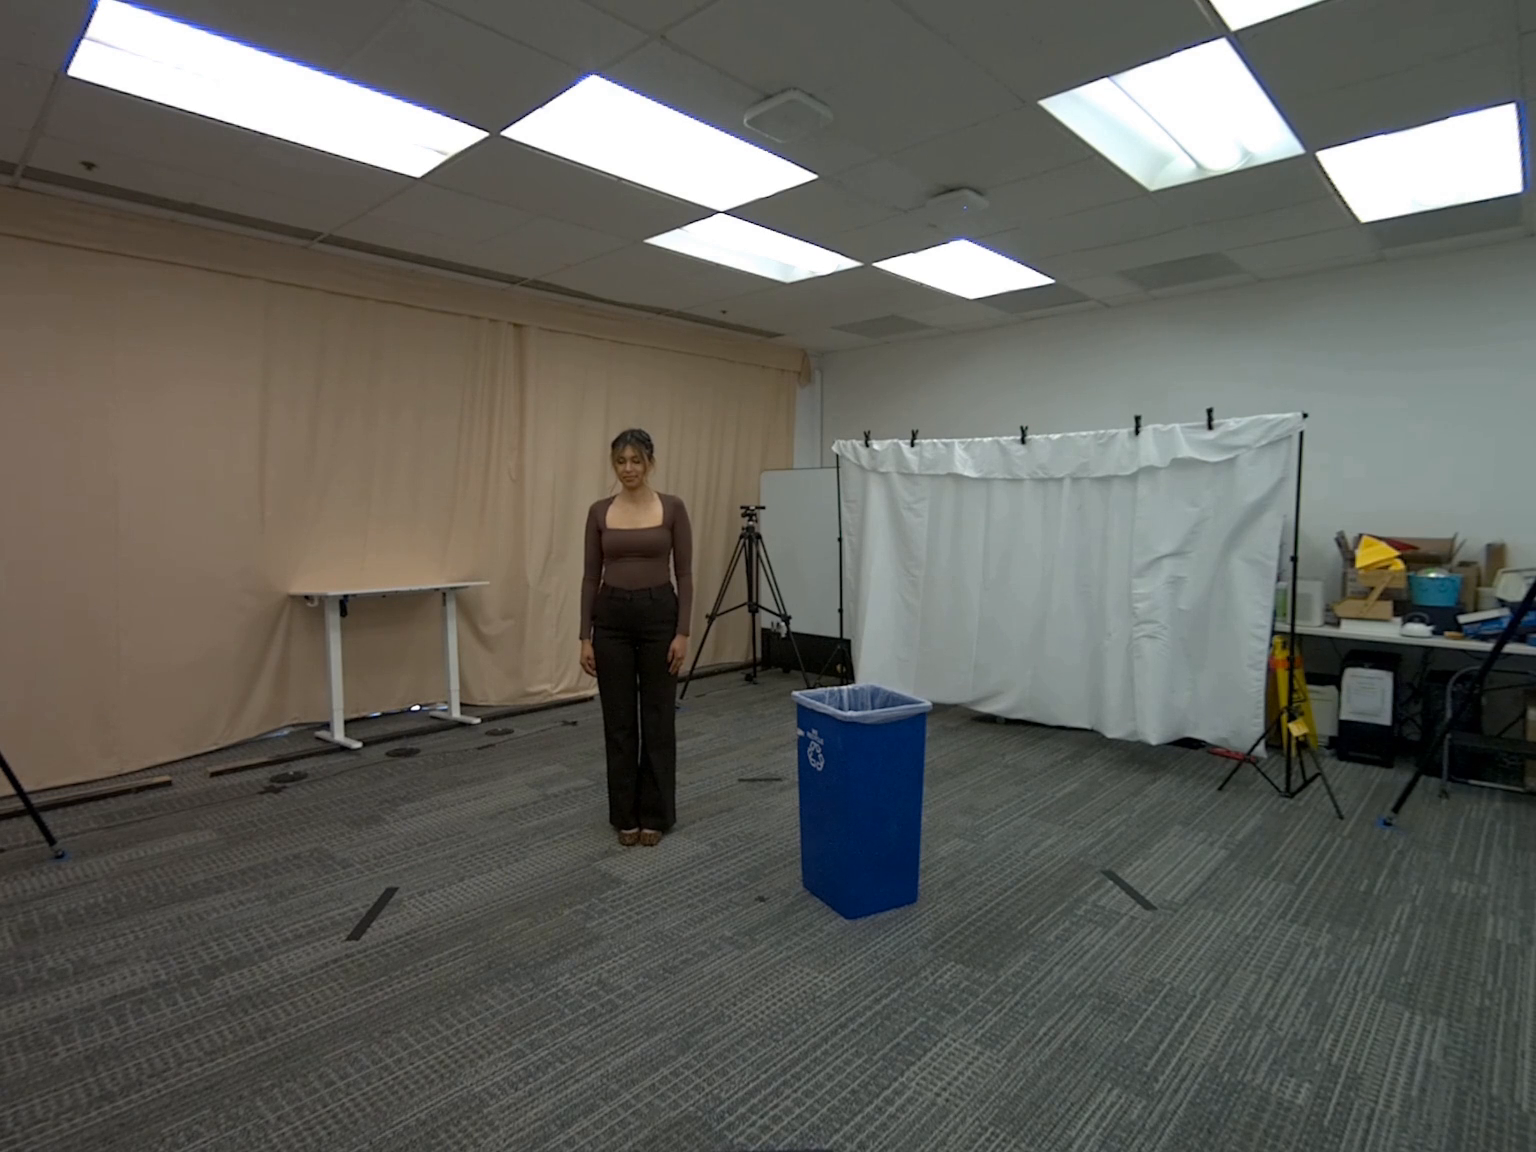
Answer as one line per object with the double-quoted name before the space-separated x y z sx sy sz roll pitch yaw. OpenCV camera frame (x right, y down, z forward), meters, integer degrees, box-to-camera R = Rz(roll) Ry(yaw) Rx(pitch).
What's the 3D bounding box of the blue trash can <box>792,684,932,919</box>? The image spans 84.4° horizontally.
"blue trash can" 0.336 0.783 2.996 0.368 0.712 0.385 -2 4 -29
